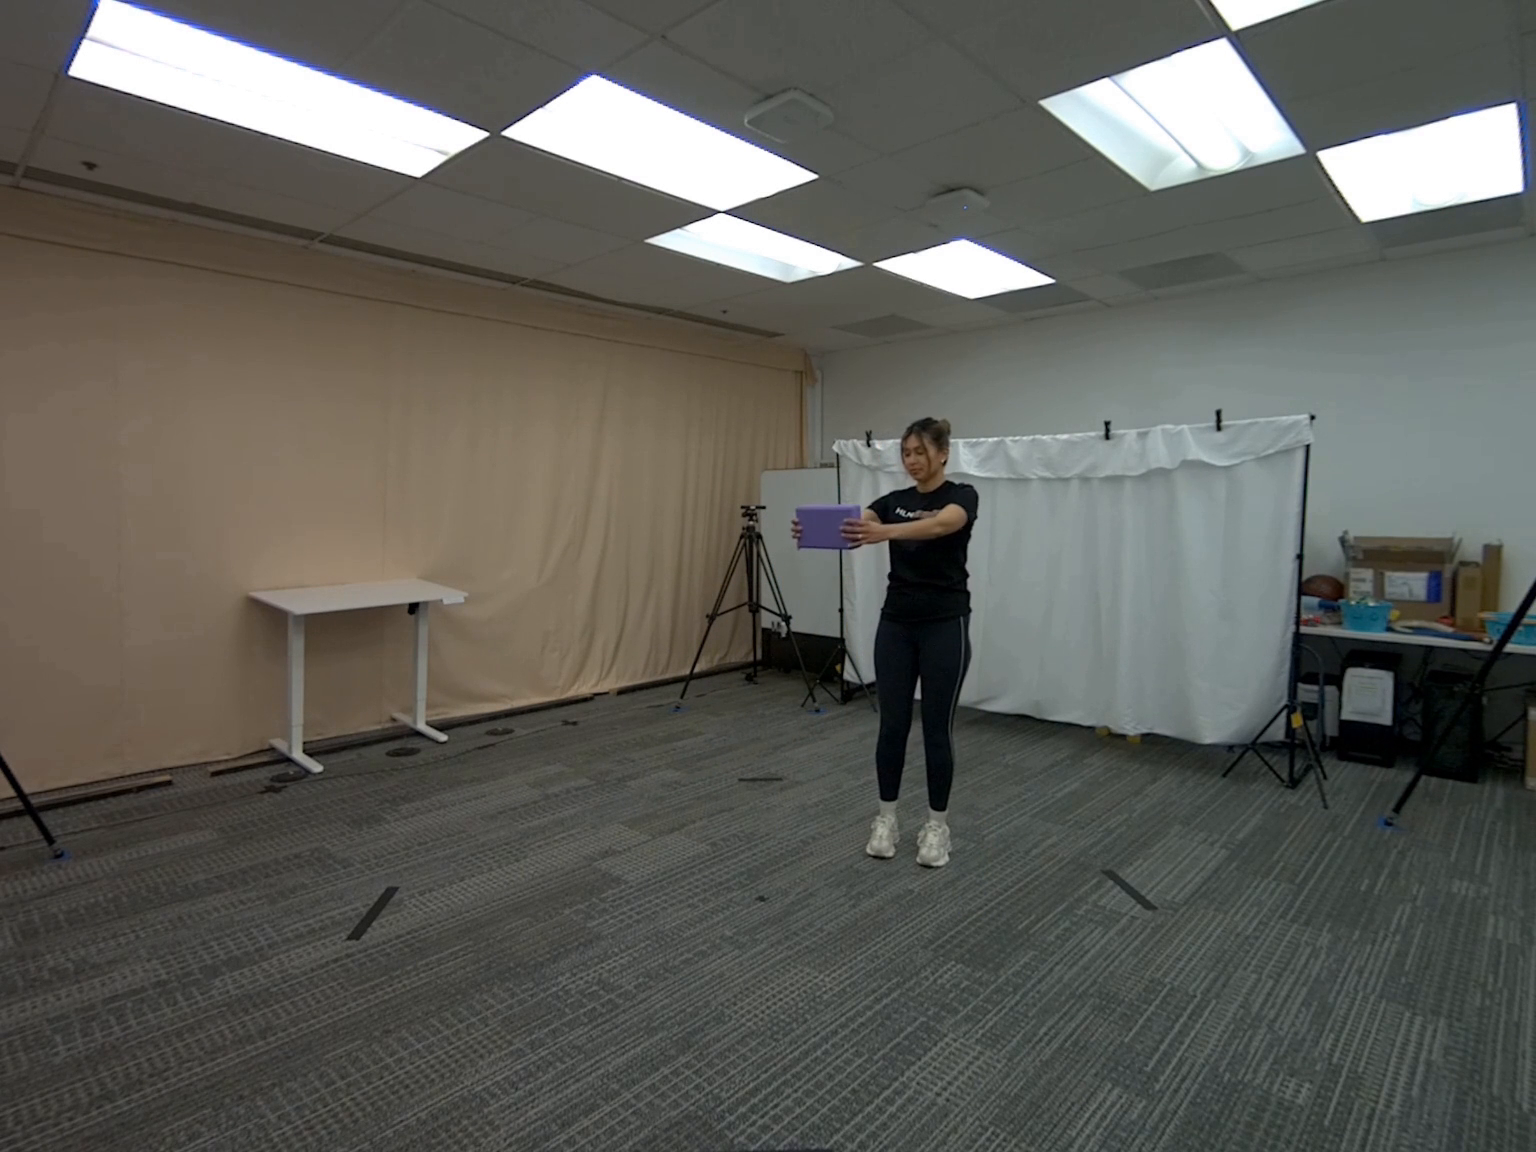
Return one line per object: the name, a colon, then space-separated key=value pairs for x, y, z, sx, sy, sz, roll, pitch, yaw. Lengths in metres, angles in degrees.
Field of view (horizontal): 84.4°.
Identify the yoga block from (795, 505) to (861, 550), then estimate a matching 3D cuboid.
yoga block: x=0.221 y=-0.171 z=2.950 sx=0.236 sy=0.148 sz=0.074 roll=2 pitch=8 yaw=34
